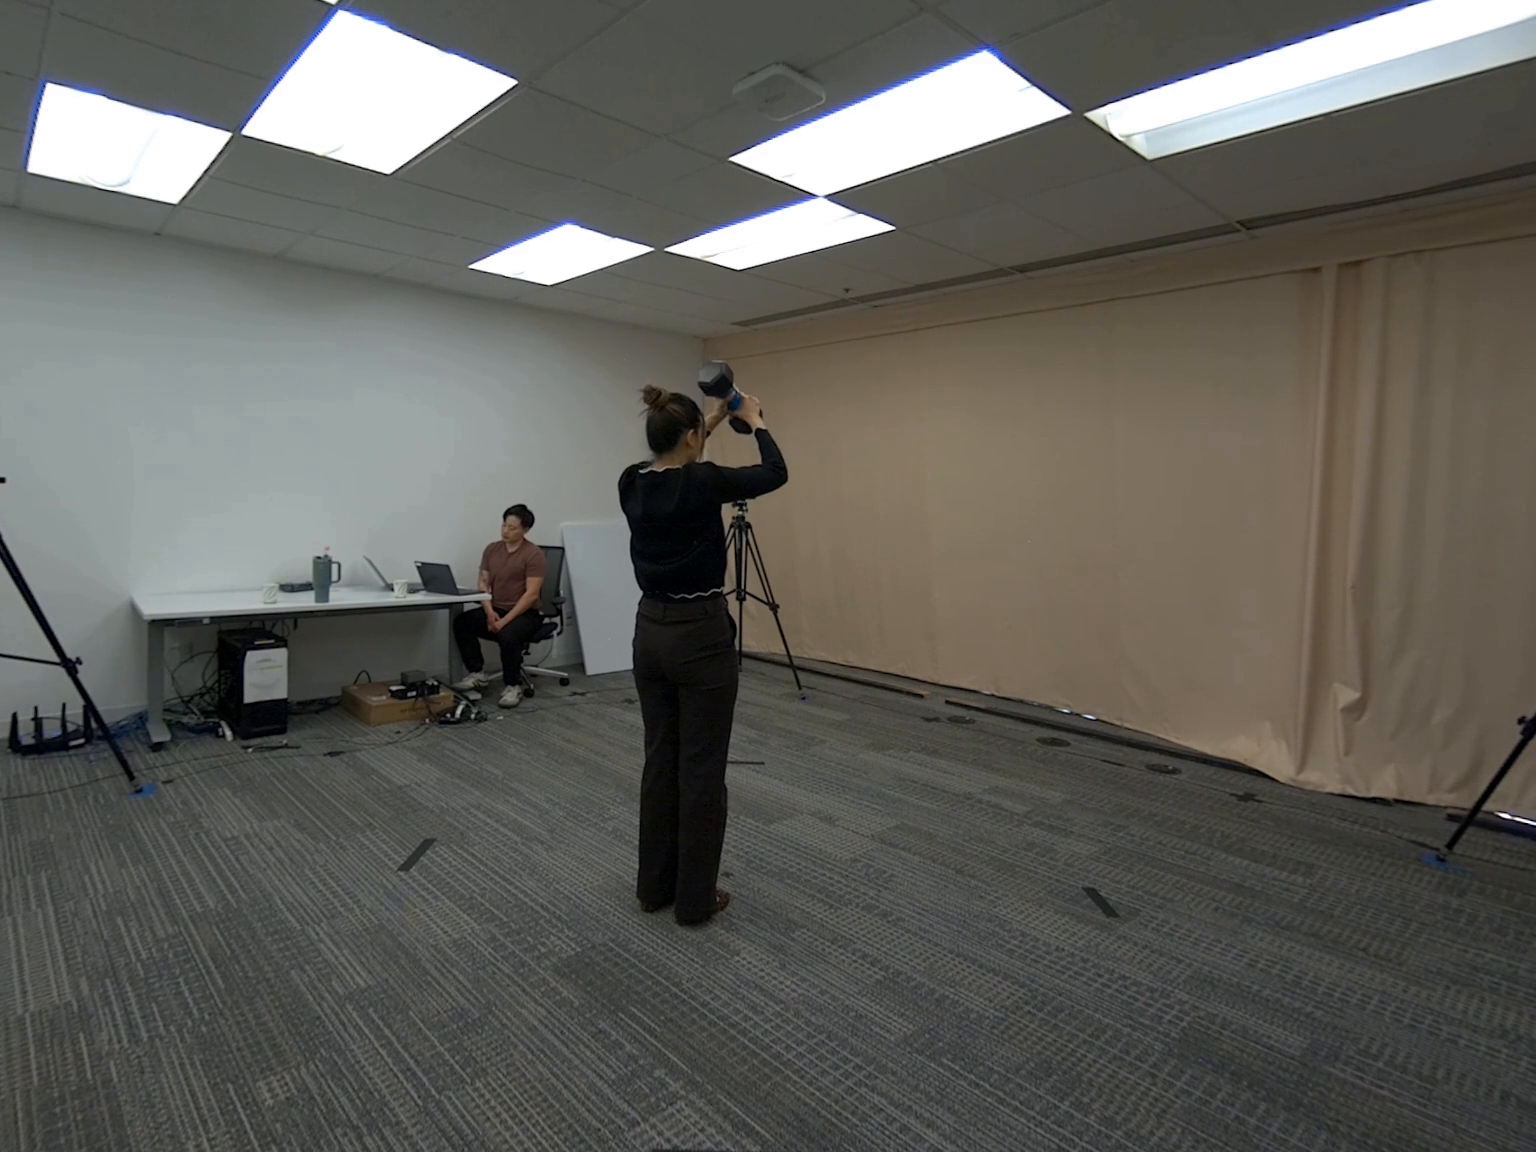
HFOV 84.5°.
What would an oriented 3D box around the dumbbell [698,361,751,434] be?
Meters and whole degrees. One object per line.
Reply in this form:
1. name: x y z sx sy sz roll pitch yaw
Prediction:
1. dumbbell: -0.137 -0.624 2.952 0.284 0.123 0.112 46 6 -45
